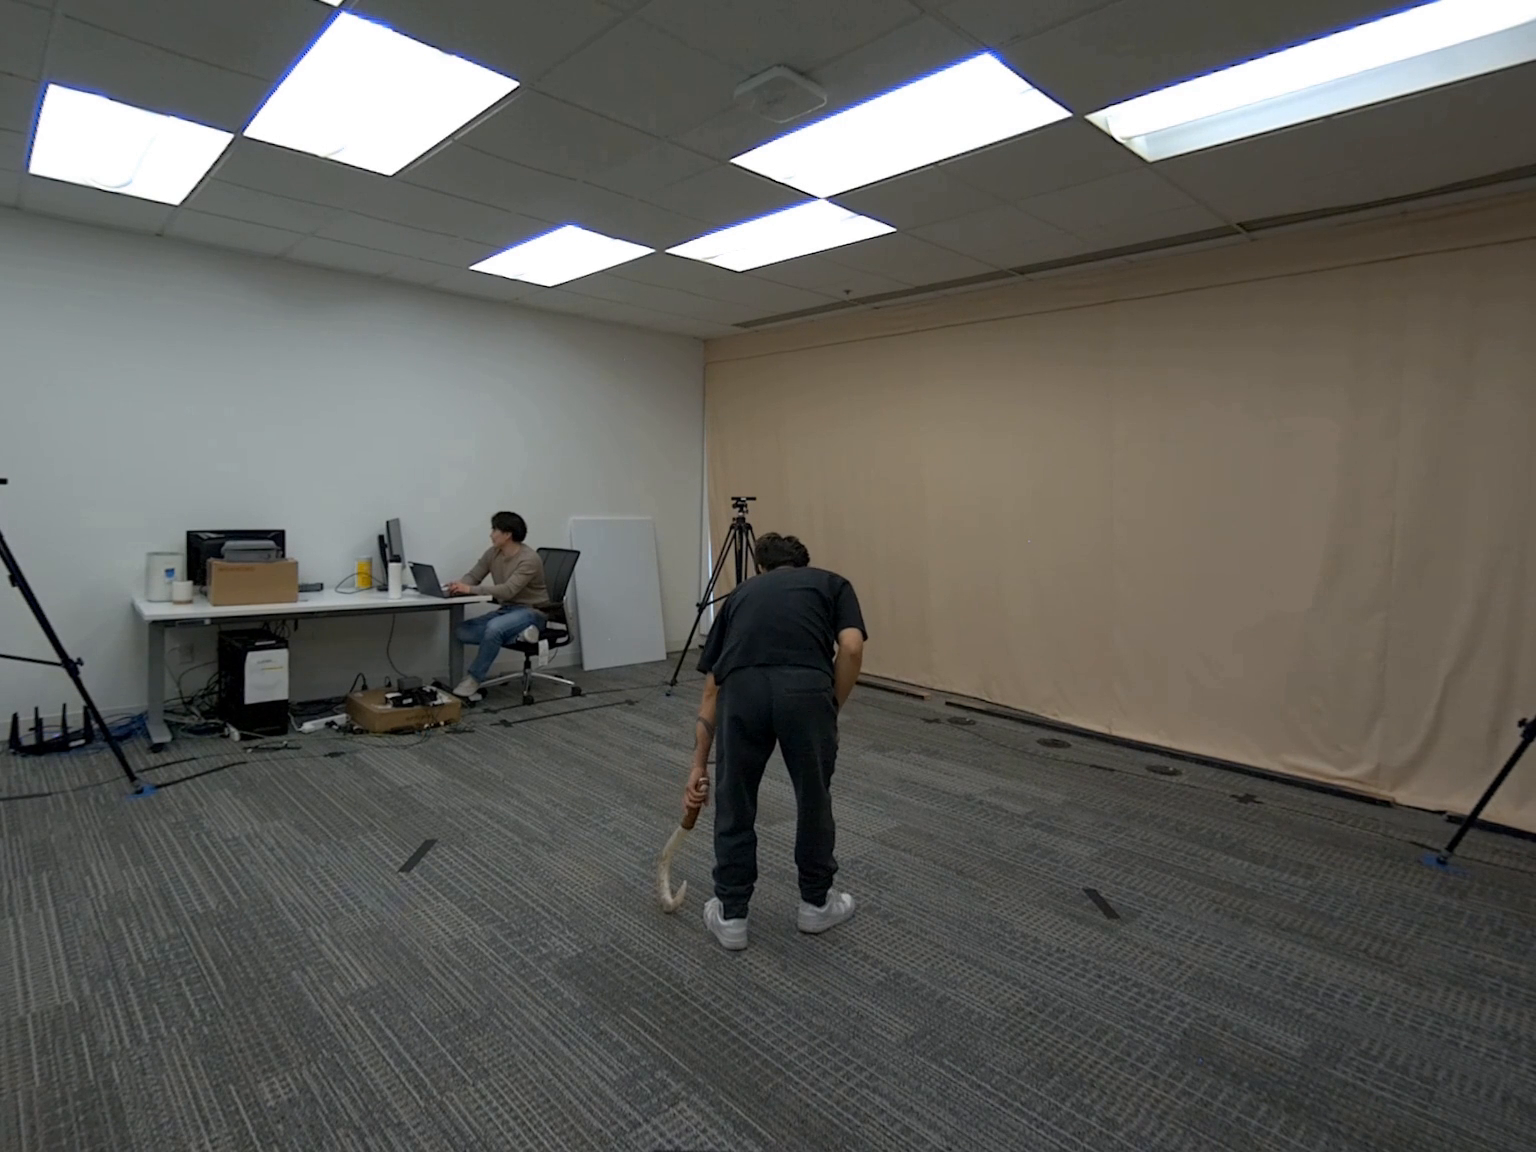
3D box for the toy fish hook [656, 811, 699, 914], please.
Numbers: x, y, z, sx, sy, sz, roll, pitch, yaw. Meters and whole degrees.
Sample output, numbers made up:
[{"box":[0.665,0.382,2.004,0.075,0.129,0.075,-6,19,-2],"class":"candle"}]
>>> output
[{"box":[-0.275,0.902,2.767,0.047,0.502,0.231,8,28,-28],"class":"toy fish hook"}]
